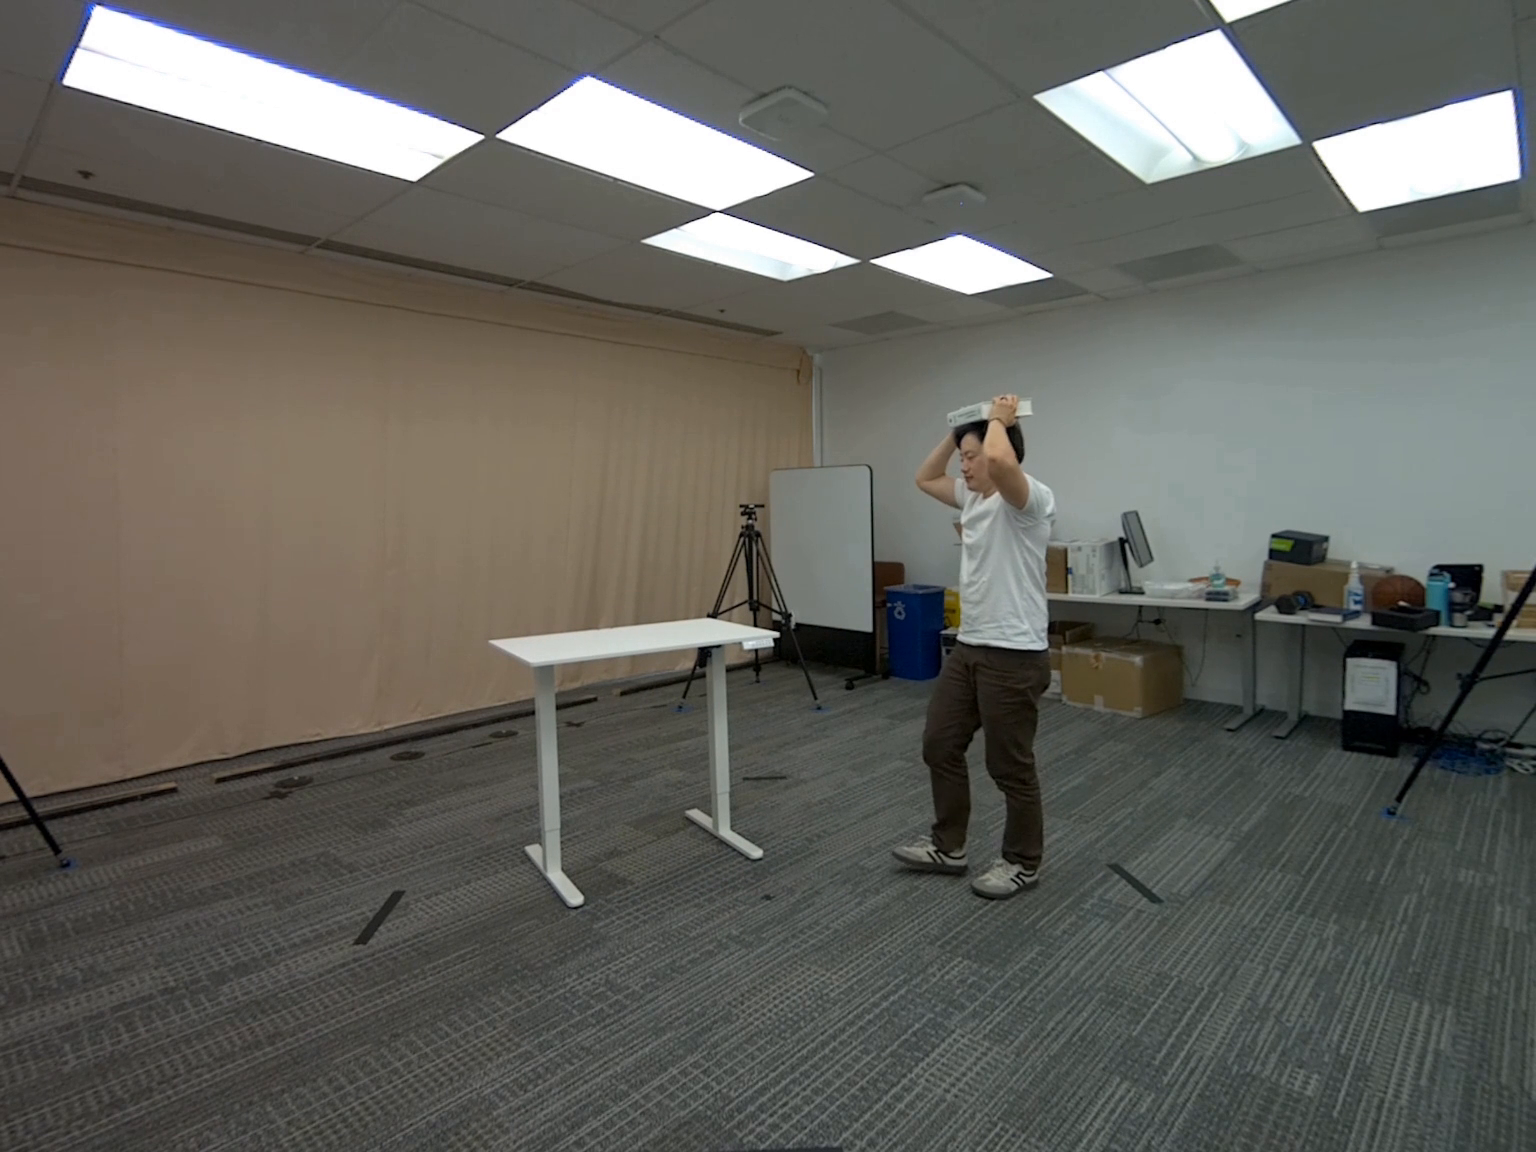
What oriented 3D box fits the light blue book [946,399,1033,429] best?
[{"bbox_3d":[0.779,-0.570,2.963,0.189,0.059,0.264,-10,5,-11],"label":"light blue book"}]
